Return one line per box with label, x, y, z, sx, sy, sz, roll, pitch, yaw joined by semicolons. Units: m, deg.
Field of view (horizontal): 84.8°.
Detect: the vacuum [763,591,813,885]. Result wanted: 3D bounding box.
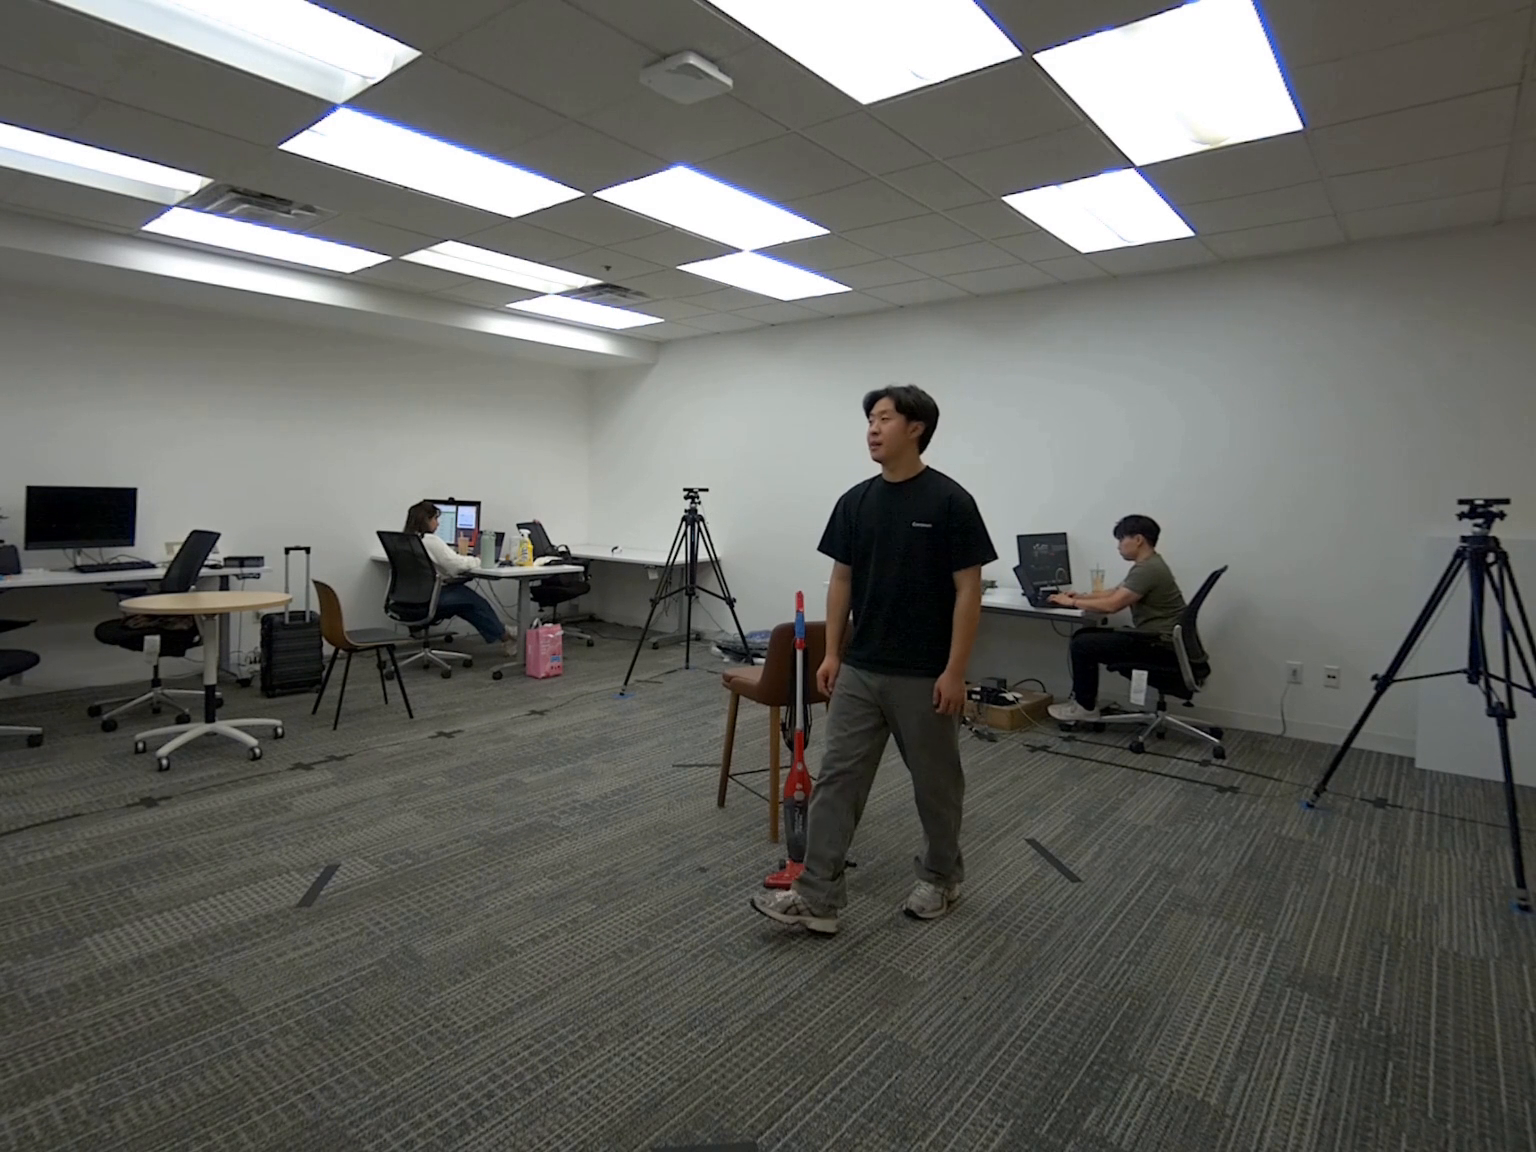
vacuum;0.111;0.568;3.204;0.252;1.066;0.142;3;-18;-3
